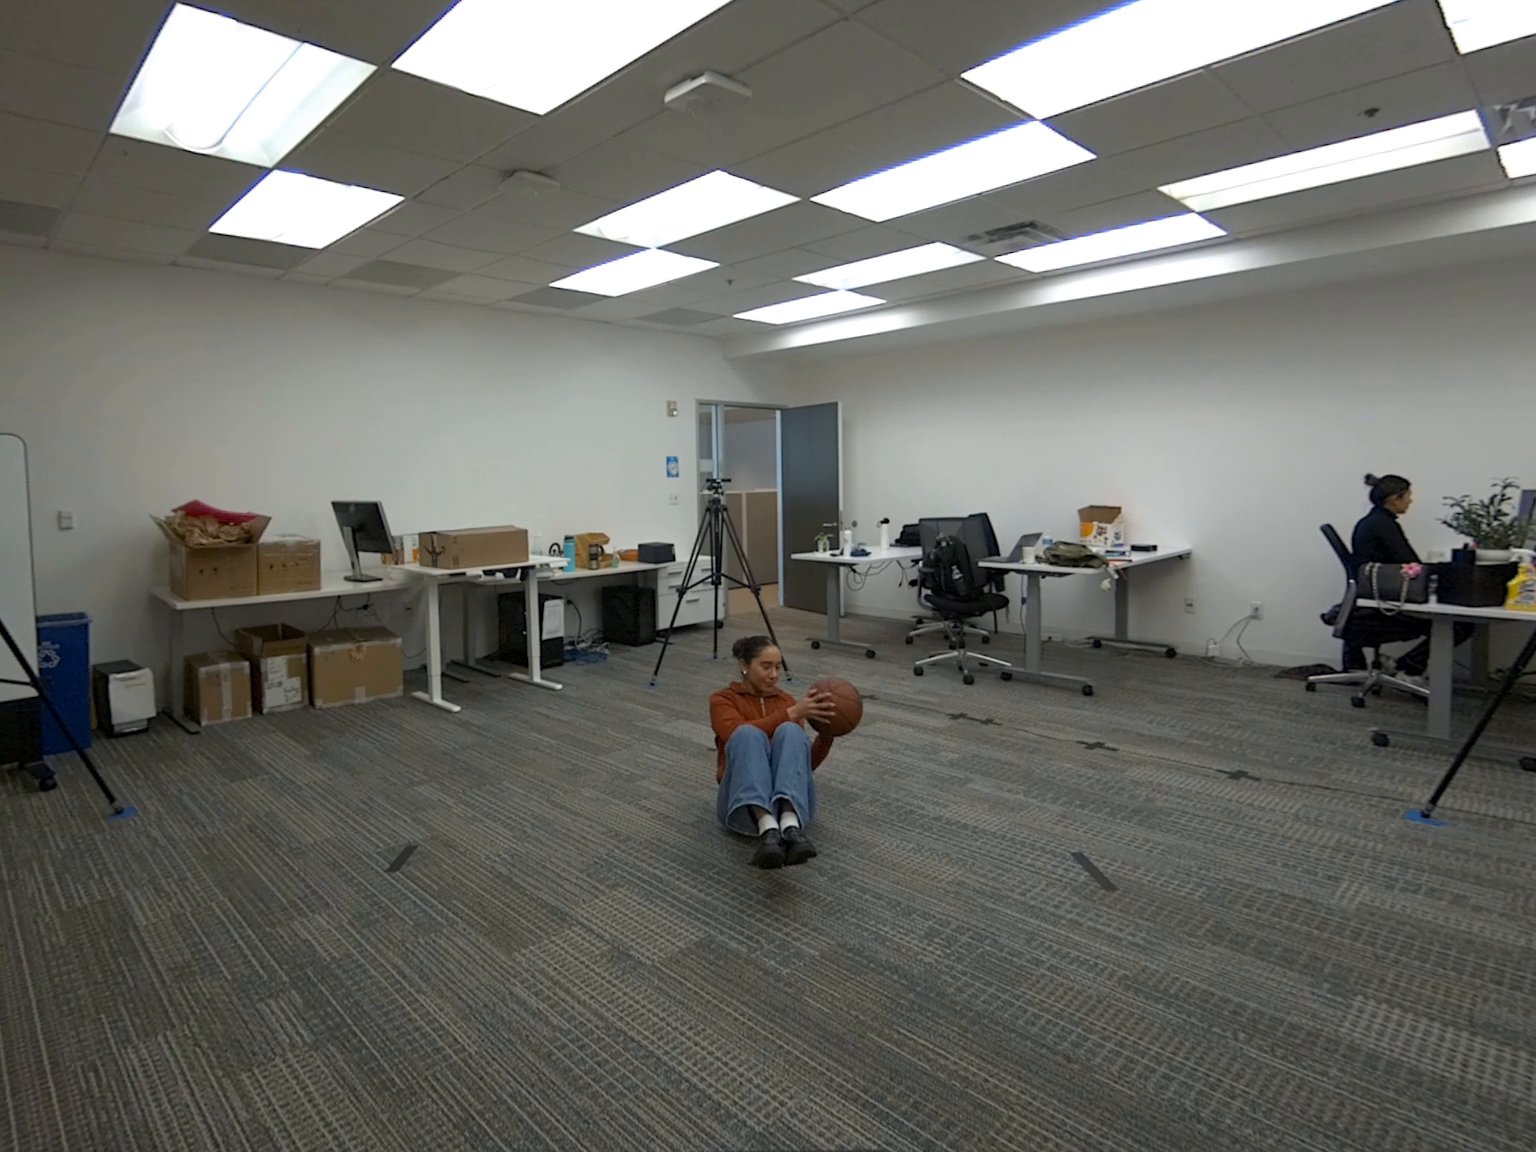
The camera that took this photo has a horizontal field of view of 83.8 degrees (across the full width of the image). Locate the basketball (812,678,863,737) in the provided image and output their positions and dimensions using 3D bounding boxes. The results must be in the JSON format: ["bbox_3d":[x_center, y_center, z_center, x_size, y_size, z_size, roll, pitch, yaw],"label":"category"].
[{"bbox_3d":[0.247,0.534,3.422,0.236,0.235,0.237,-1,5,-2],"label":"basketball"}]
